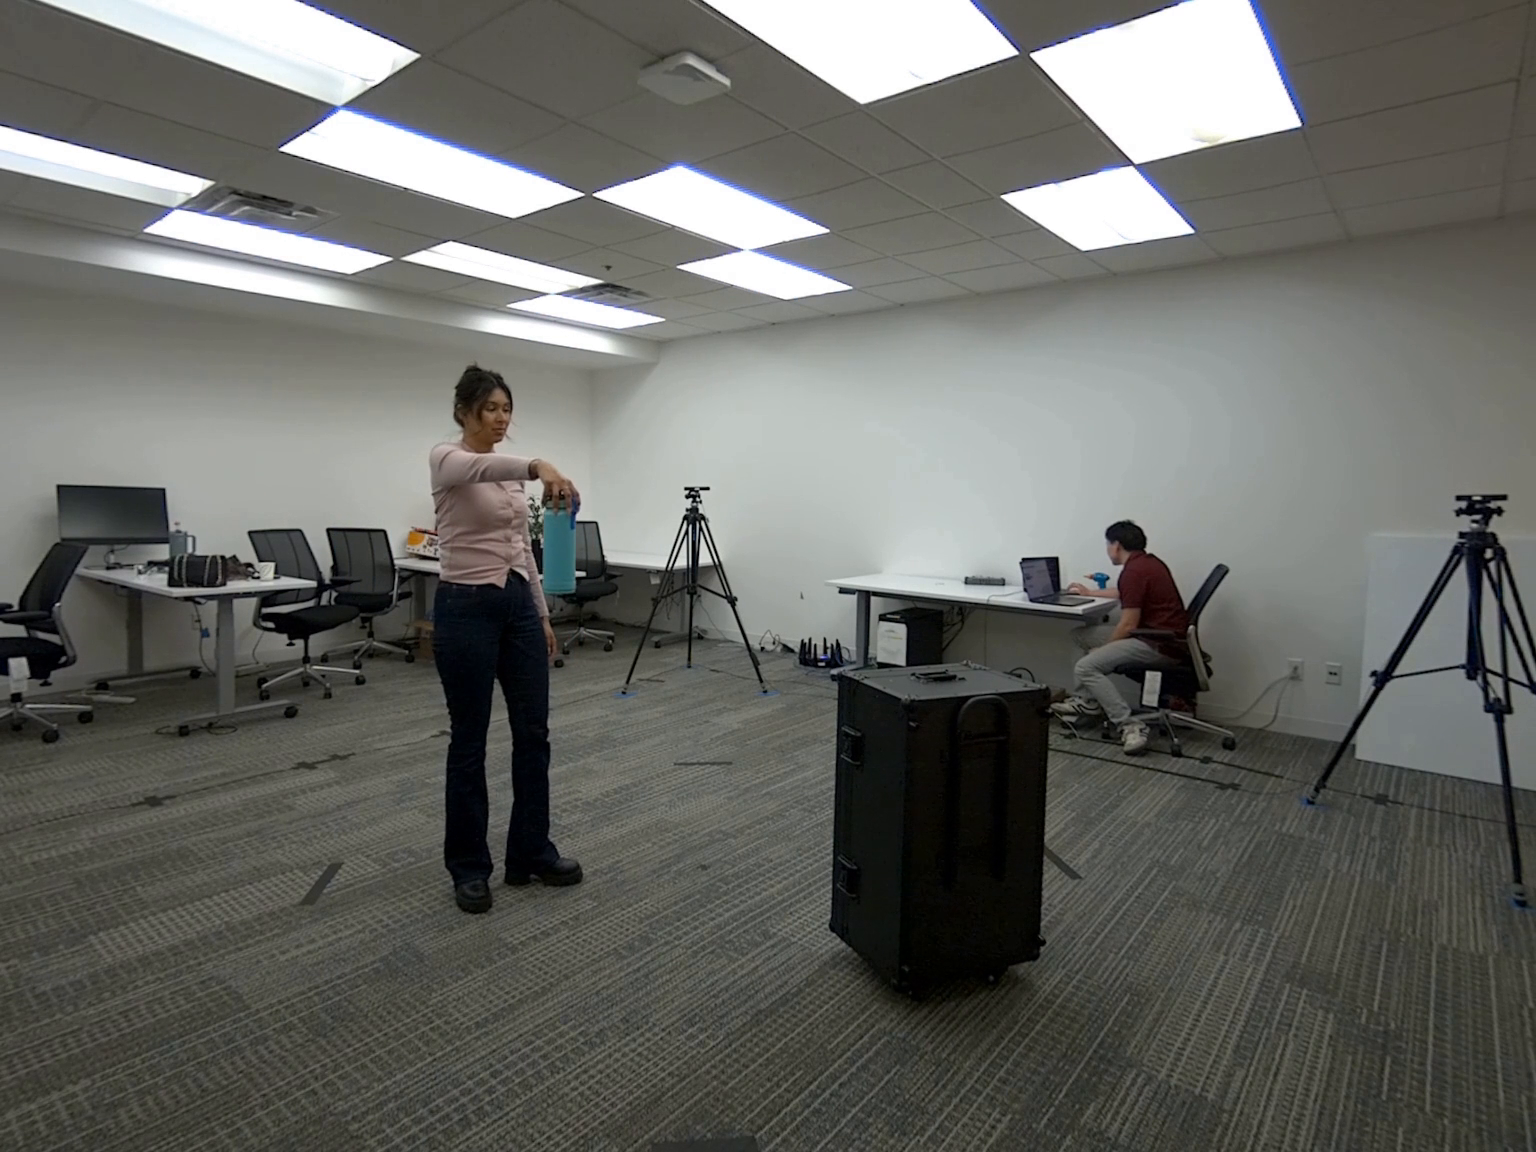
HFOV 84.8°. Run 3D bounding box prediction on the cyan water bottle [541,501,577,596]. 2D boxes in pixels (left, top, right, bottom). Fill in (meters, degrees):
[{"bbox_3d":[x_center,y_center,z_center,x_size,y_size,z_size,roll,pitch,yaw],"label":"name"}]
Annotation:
[{"bbox_3d":[-0.581,-0.098,2.332,0.092,0.283,0.092,1,2,-2],"label":"cyan water bottle"}]
